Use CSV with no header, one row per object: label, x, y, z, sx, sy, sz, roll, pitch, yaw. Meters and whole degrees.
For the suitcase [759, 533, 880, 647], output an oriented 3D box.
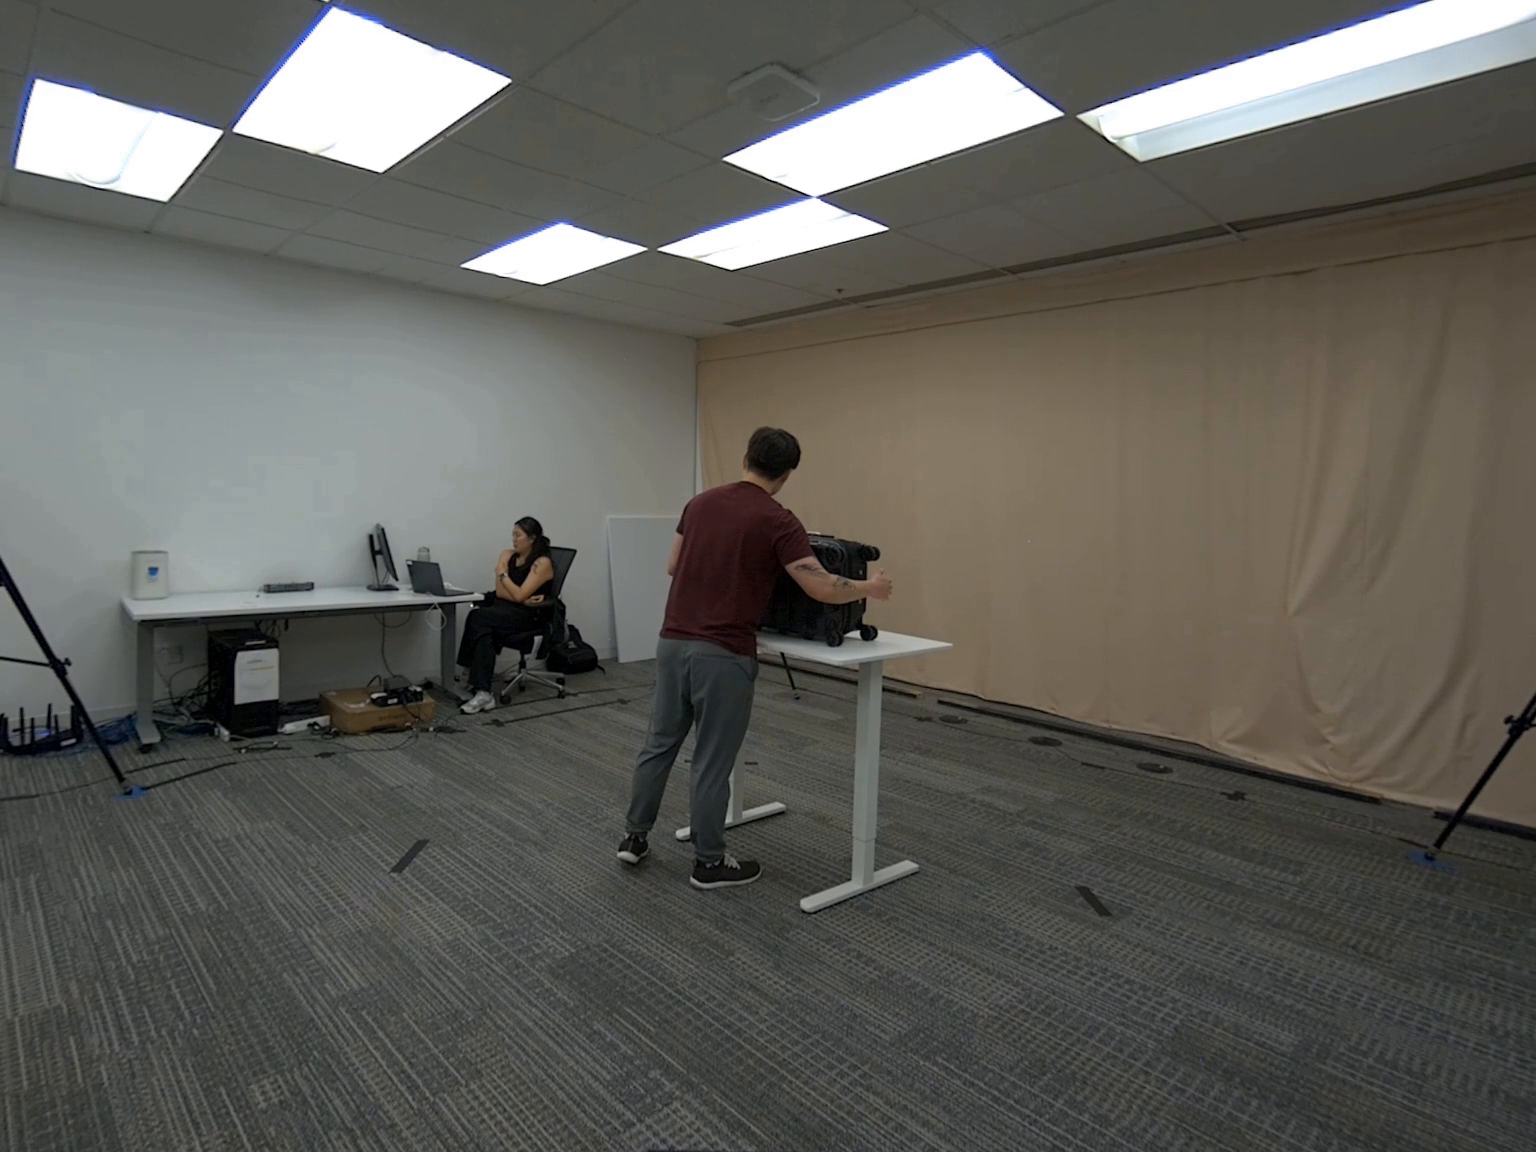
suitcase,-0.031,0.022,3.335,1.004,0.382,0.251,6,7,44
